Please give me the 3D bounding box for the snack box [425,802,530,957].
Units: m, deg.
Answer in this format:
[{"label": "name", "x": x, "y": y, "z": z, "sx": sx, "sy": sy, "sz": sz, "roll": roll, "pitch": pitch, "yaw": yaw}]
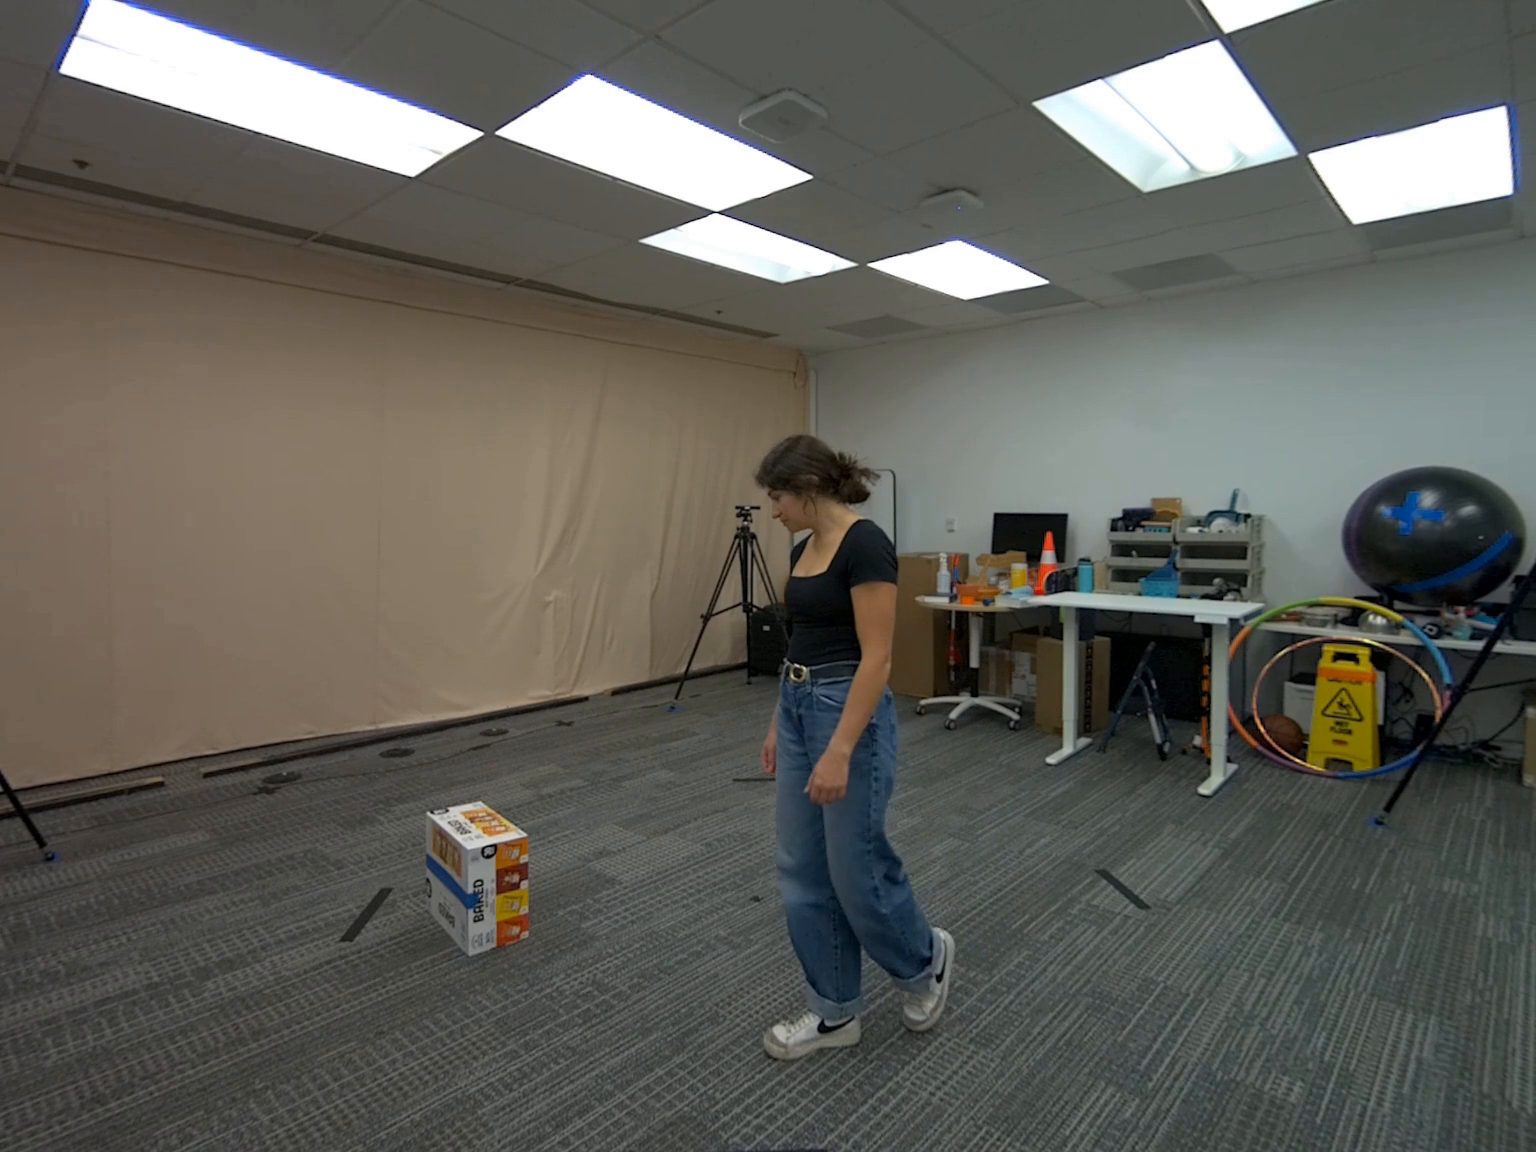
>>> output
[{"label": "snack box", "x": -0.983, "y": 0.998, "z": 2.818, "sx": 0.199, "sy": 0.340, "sz": 0.418, "roll": -1, "pitch": 3, "yaw": -39}]
